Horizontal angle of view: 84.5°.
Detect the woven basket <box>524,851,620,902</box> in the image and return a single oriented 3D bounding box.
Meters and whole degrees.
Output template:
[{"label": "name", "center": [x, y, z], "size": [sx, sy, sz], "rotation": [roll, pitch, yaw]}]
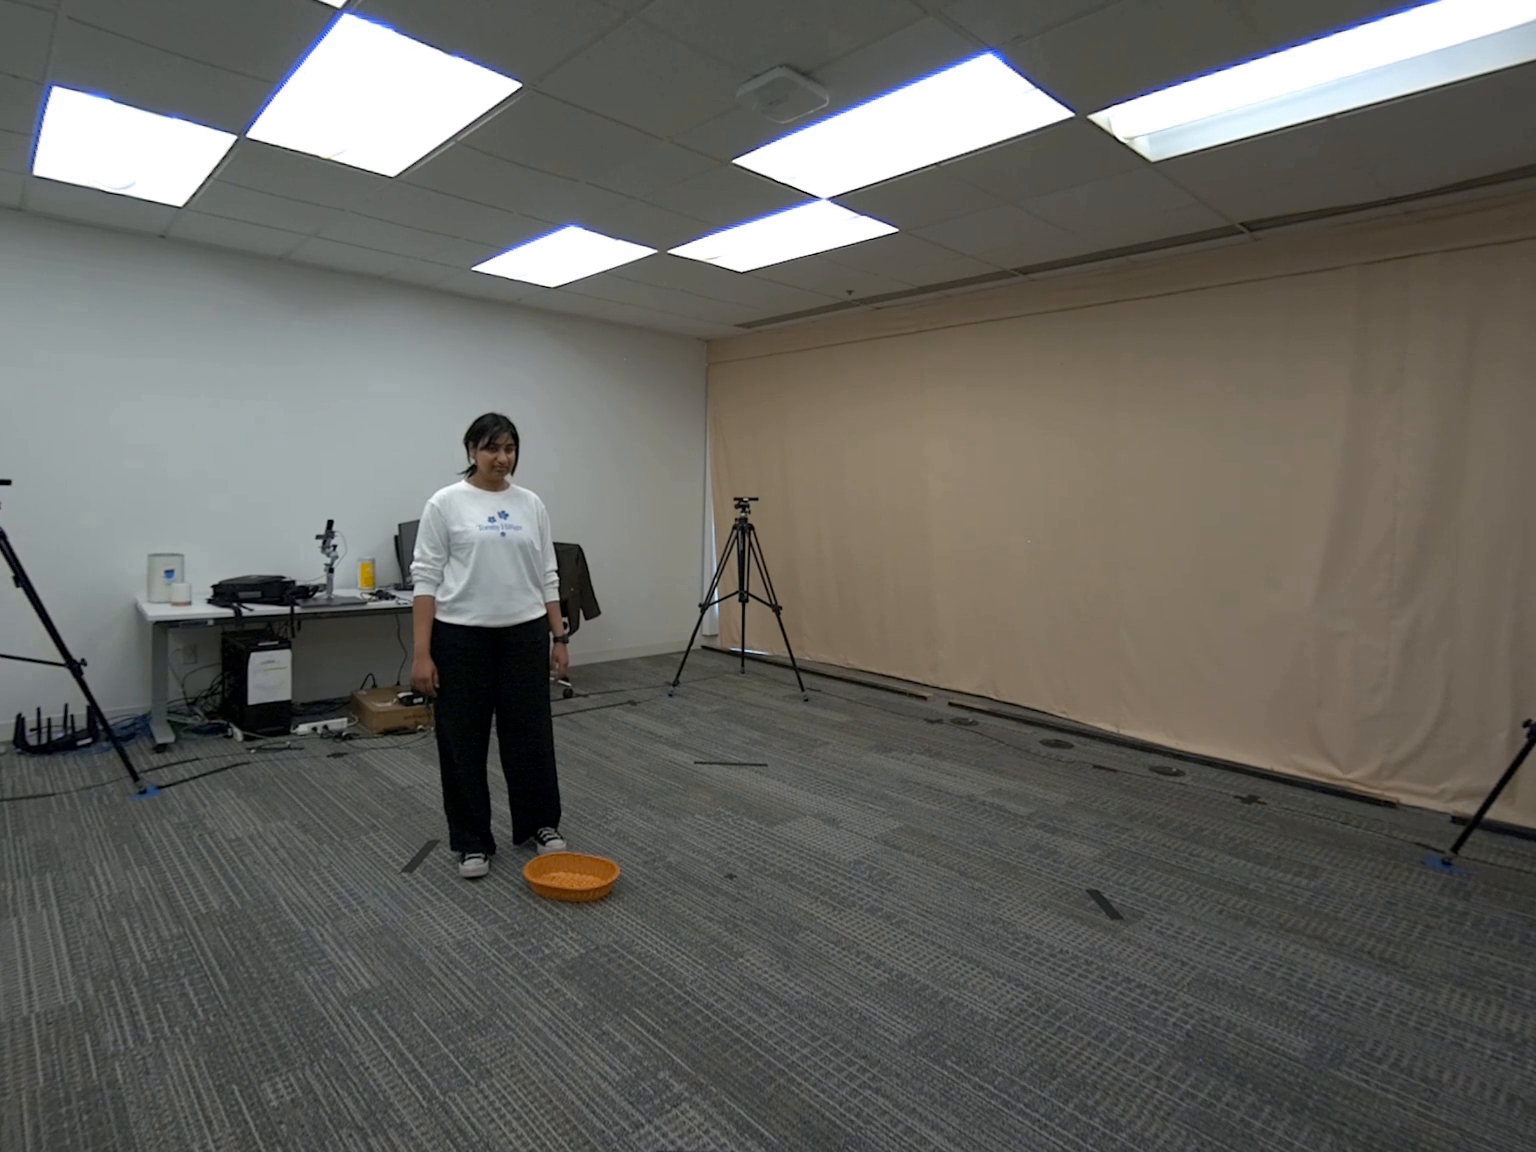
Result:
[{"label": "woven basket", "center": [-0.699, 1.069, 2.973], "size": [0.356, 0.073, 0.250], "rotation": [3, 7, 18]}]
